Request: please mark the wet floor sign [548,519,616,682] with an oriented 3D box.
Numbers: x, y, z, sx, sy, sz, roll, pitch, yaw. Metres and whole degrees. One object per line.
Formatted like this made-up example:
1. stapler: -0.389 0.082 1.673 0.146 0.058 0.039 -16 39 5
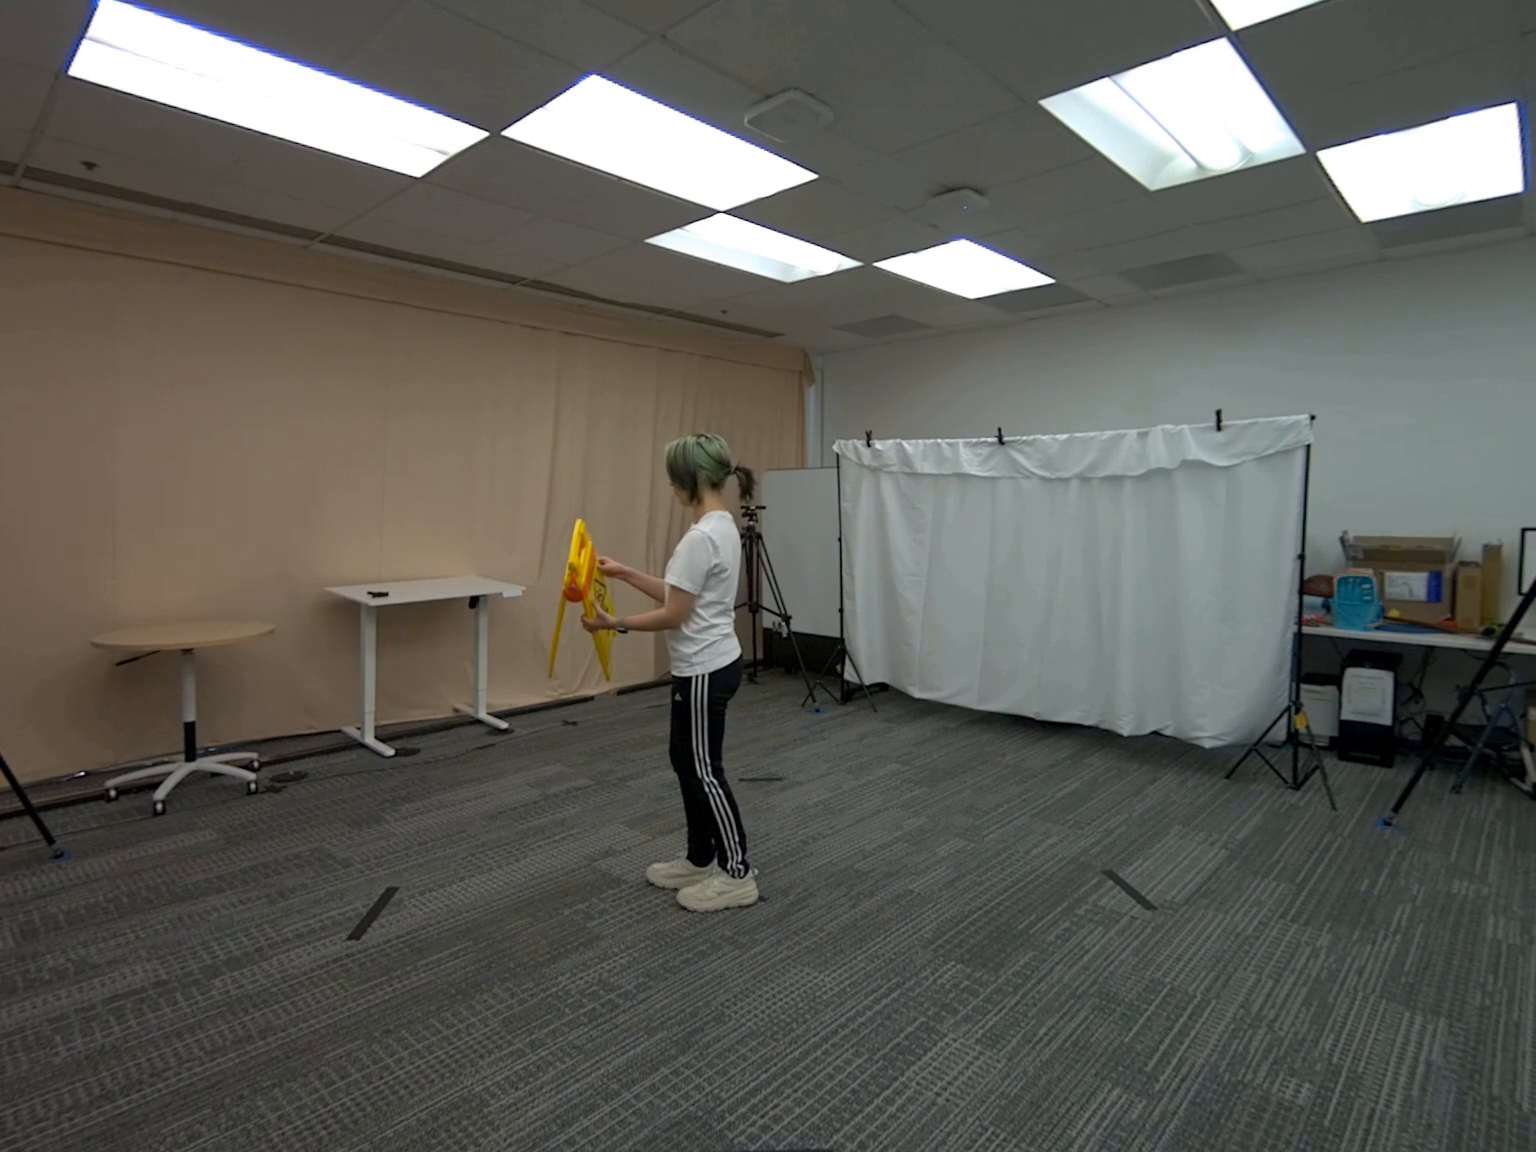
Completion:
1. wet floor sign: -0.676 0.089 3.035 0.289 0.287 0.636 3 -42 -4
